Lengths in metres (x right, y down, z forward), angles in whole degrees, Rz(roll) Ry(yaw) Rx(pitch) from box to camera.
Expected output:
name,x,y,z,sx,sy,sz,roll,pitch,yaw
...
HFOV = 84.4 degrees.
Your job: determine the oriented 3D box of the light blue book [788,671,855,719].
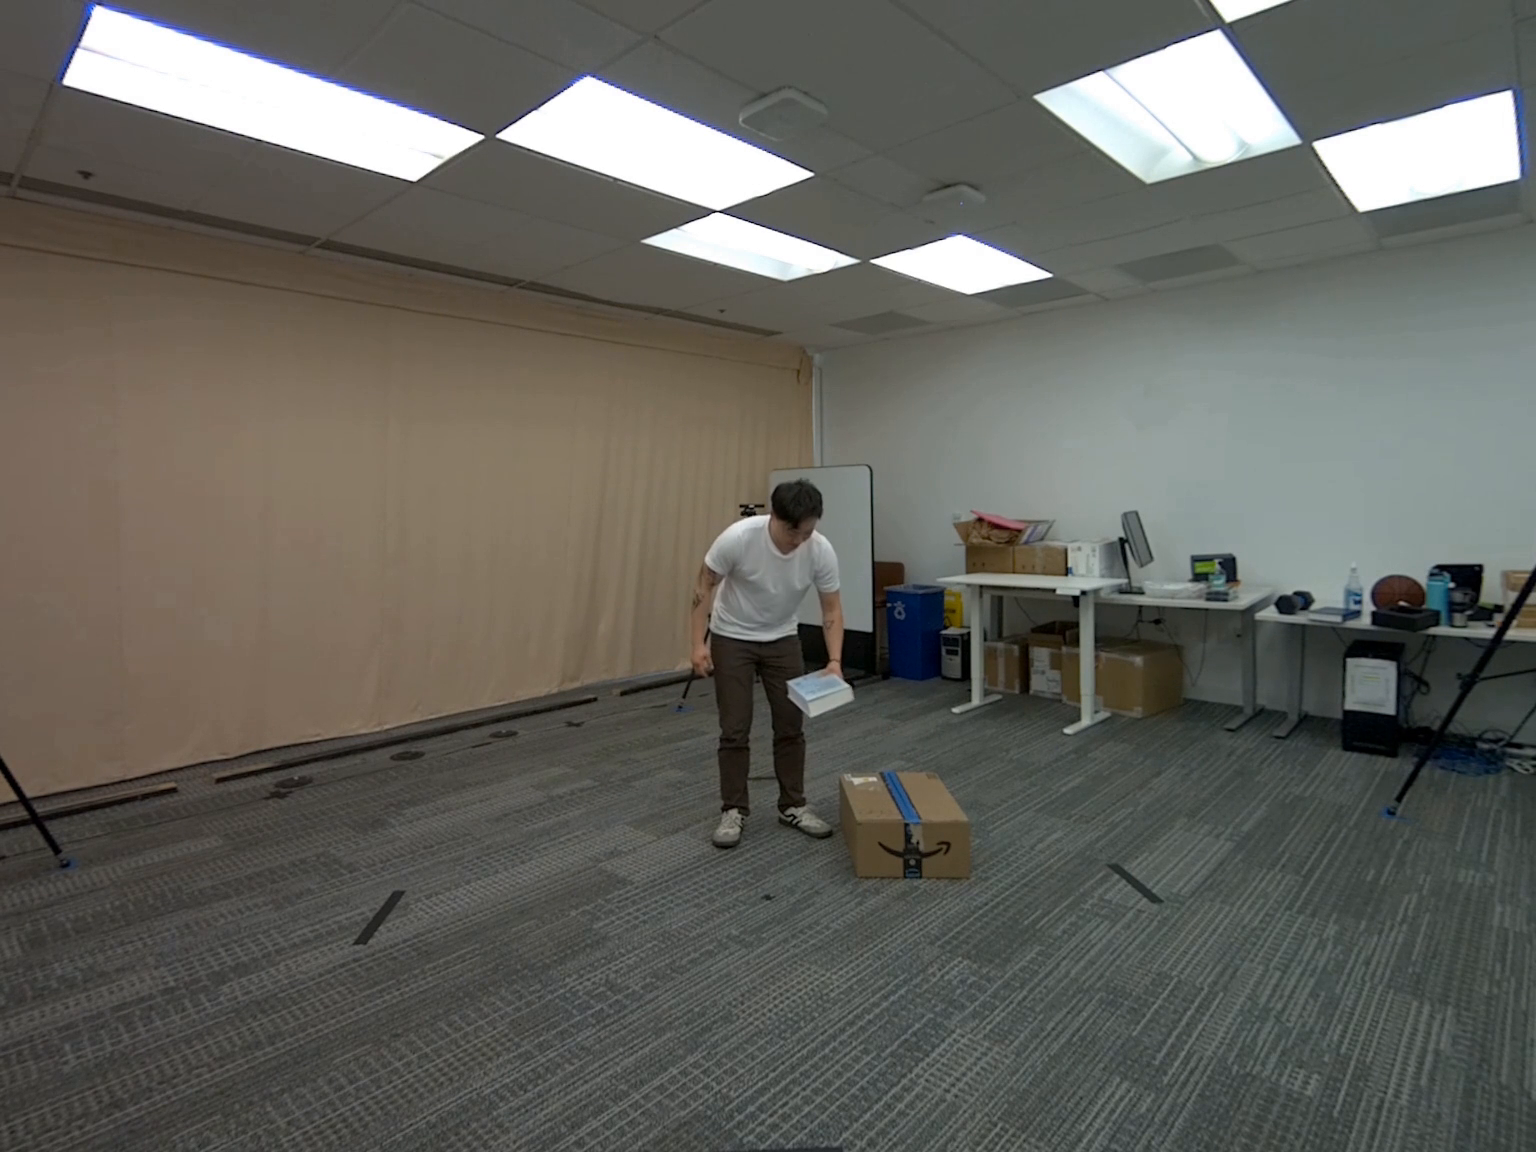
name,x,y,z,sx,sy,sz,roll,pitch,yaw
light blue book,0.198,0.455,3.316,0.190,0.058,0.266,-17,12,-11
